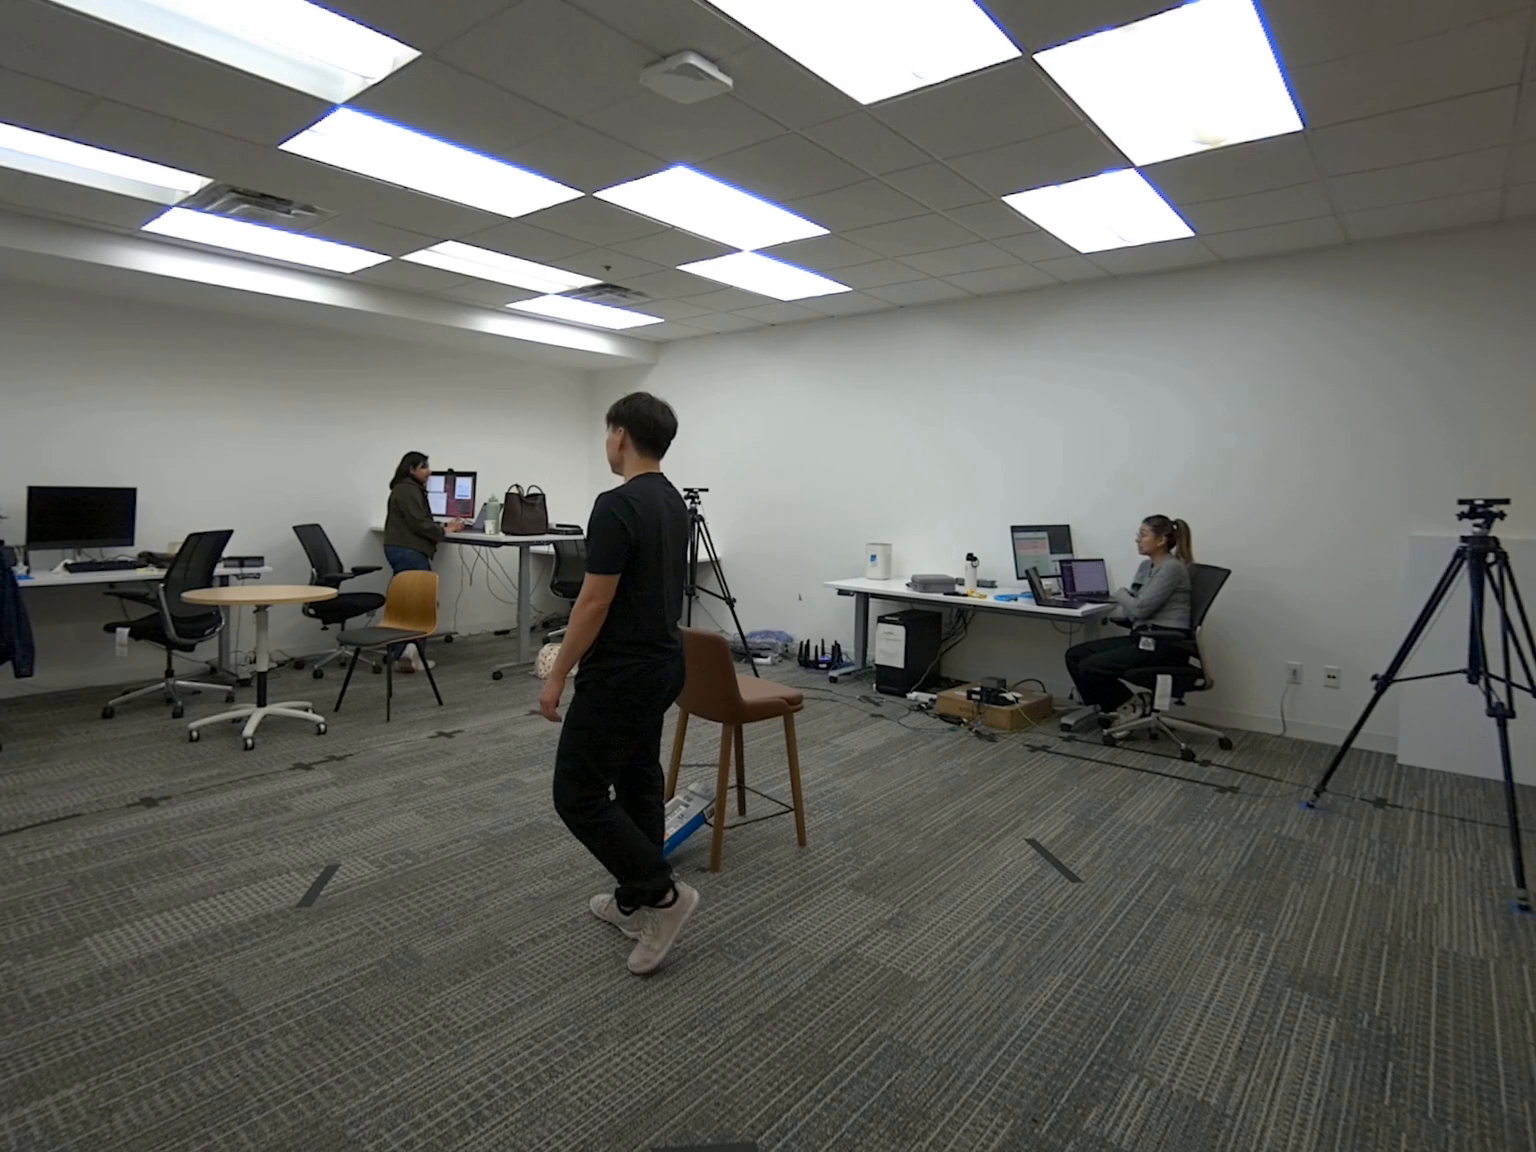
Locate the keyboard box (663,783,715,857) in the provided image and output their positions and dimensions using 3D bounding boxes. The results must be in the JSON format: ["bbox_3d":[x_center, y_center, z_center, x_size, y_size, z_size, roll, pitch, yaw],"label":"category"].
[{"bbox_3d":[-0.381,0.946,3.178,0.432,0.058,0.182,-34,25,-32],"label":"keyboard box"}]
